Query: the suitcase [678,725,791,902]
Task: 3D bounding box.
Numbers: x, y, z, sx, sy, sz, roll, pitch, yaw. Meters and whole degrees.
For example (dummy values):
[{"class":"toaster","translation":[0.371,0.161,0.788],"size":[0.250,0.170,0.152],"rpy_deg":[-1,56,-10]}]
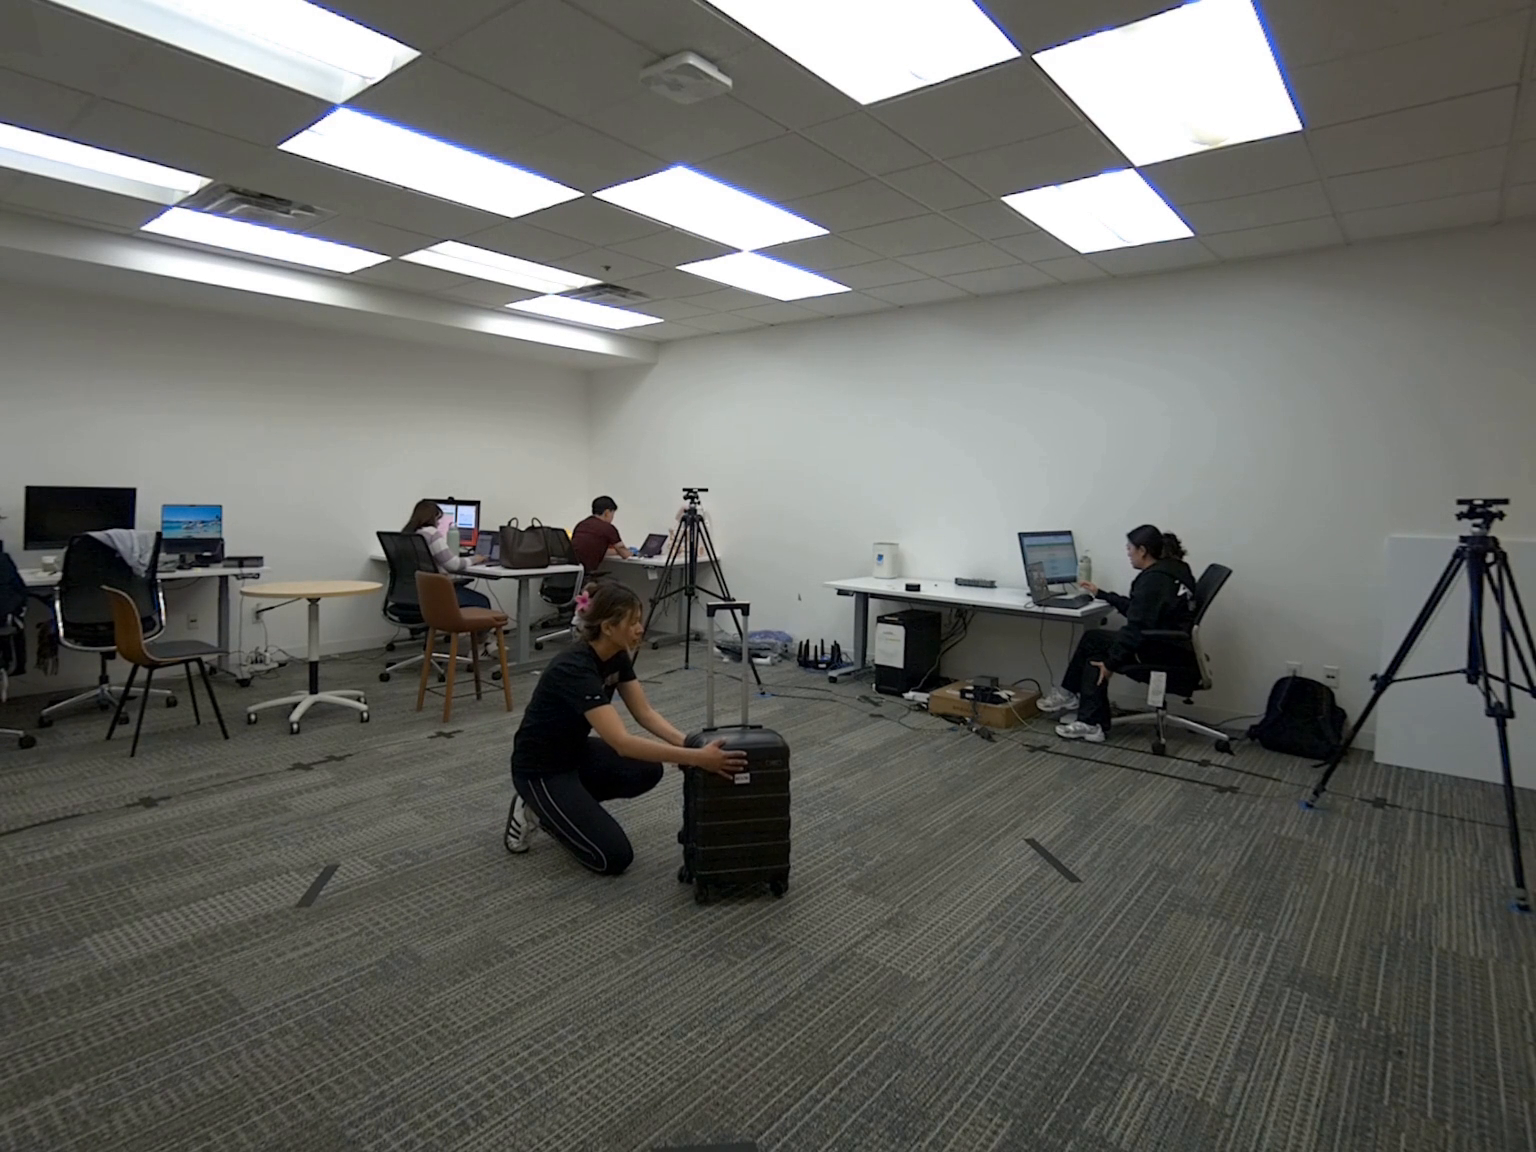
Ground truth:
[{"class":"suitcase","translation":[-0.125,0.606,2.966],"size":[0.379,0.978,0.260],"rpy_deg":[0,0,-13]}]
